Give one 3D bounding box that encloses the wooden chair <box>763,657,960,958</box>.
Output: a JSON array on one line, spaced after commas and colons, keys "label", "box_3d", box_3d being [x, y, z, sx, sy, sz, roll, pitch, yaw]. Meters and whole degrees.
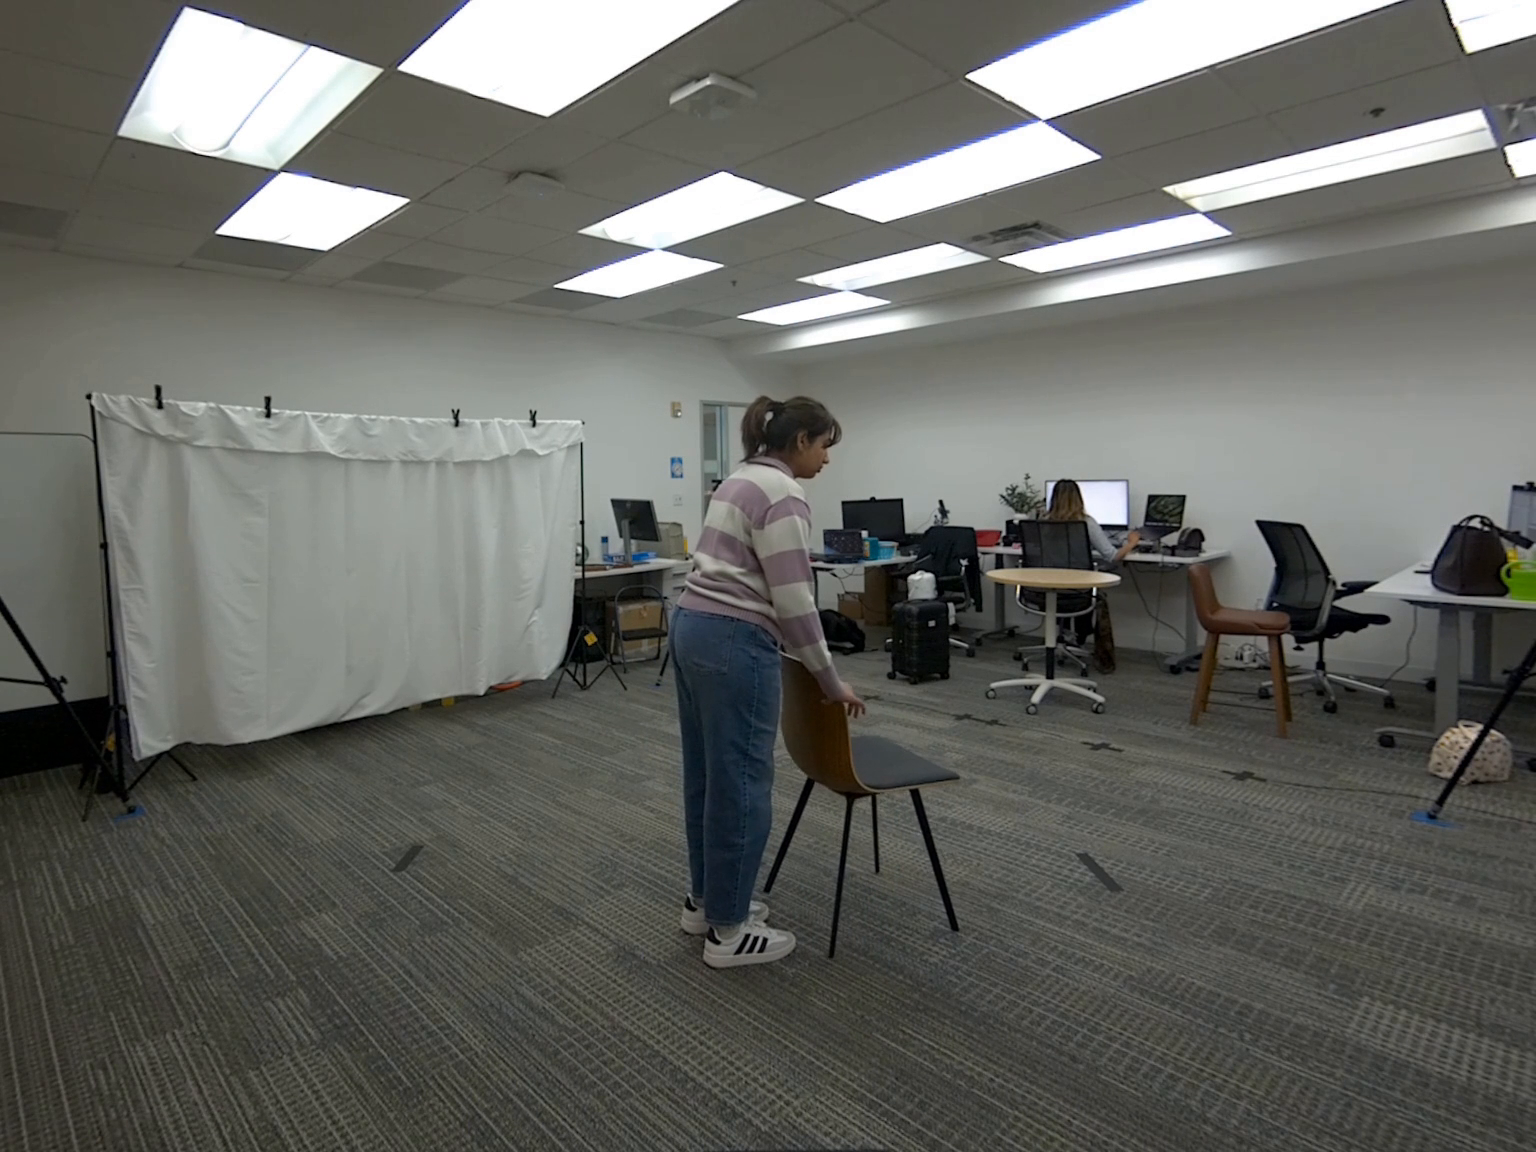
[{"label": "wooden chair", "box_3d": [0.310, 0.648, 2.726, 0.513, 0.874, 0.489, -5, 5, -24]}]
